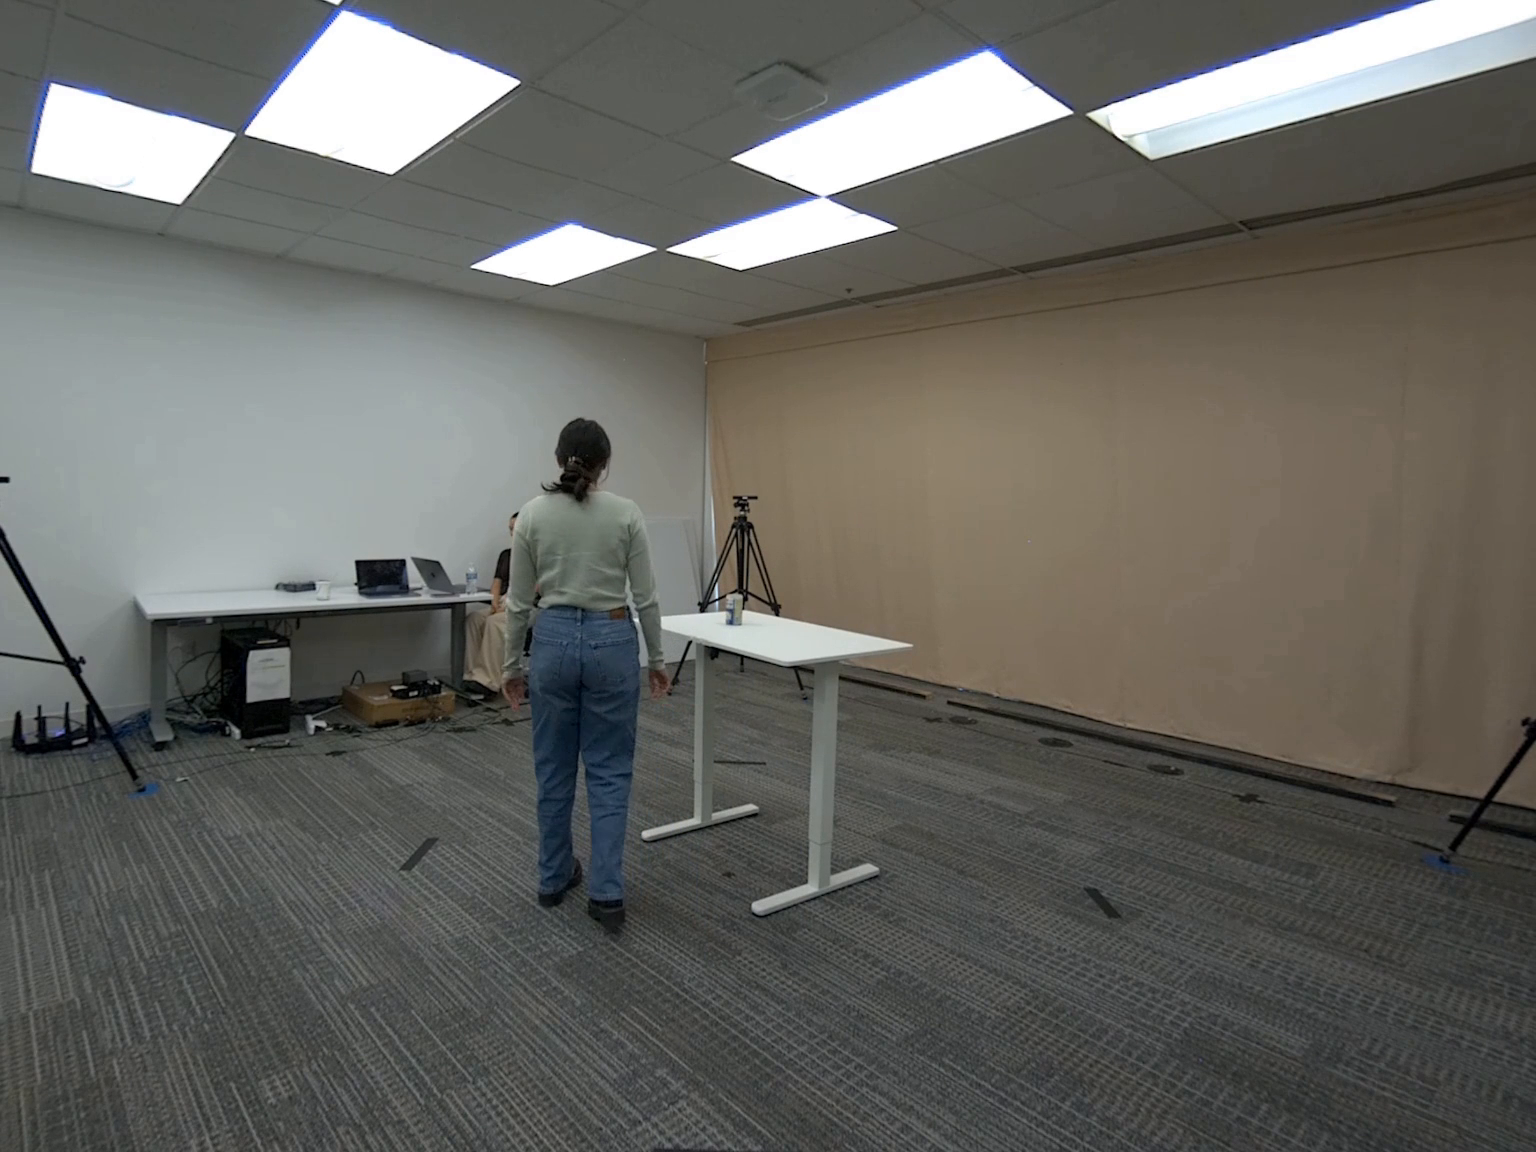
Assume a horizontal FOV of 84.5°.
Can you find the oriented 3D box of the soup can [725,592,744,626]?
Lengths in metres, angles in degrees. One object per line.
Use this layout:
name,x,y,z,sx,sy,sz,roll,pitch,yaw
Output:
soup can,-0.147,0.138,3.375,0.067,0.121,0.067,-1,1,-1
